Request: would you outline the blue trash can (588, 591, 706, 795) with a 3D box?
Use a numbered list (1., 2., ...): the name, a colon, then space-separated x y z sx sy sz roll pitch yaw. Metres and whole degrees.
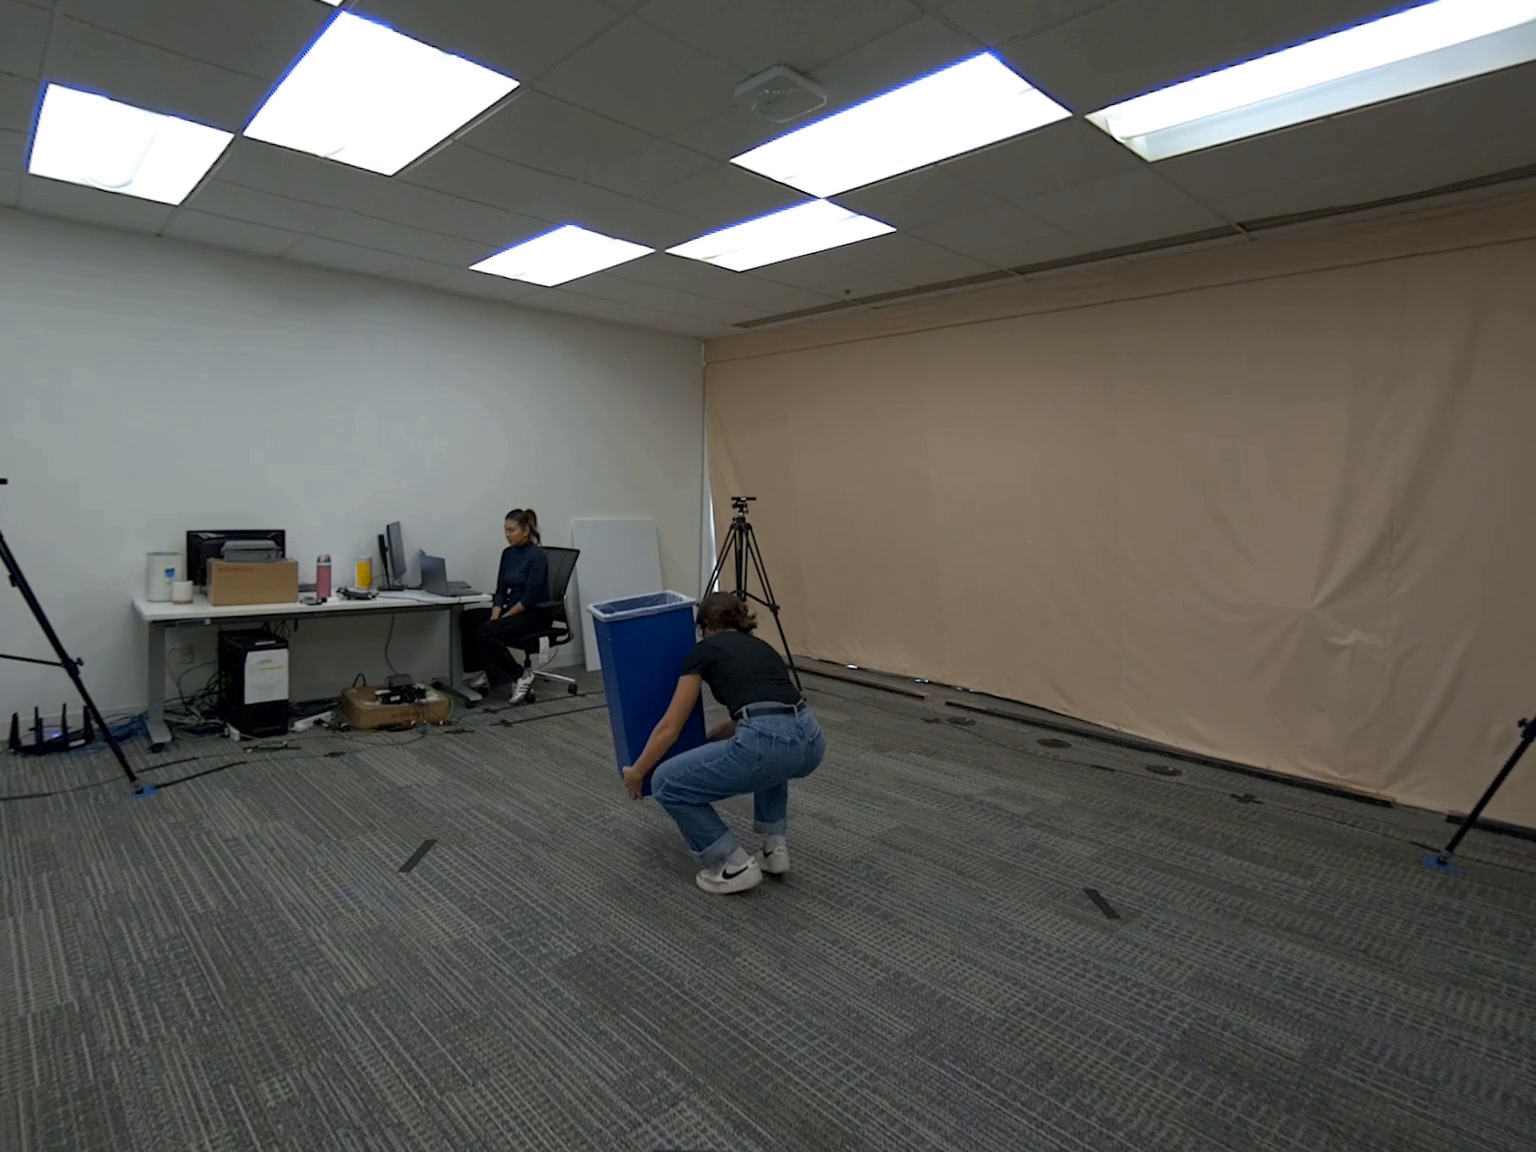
1. blue trash can: -0.470 0.447 3.326 0.369 0.710 0.385 -9 6 -21
